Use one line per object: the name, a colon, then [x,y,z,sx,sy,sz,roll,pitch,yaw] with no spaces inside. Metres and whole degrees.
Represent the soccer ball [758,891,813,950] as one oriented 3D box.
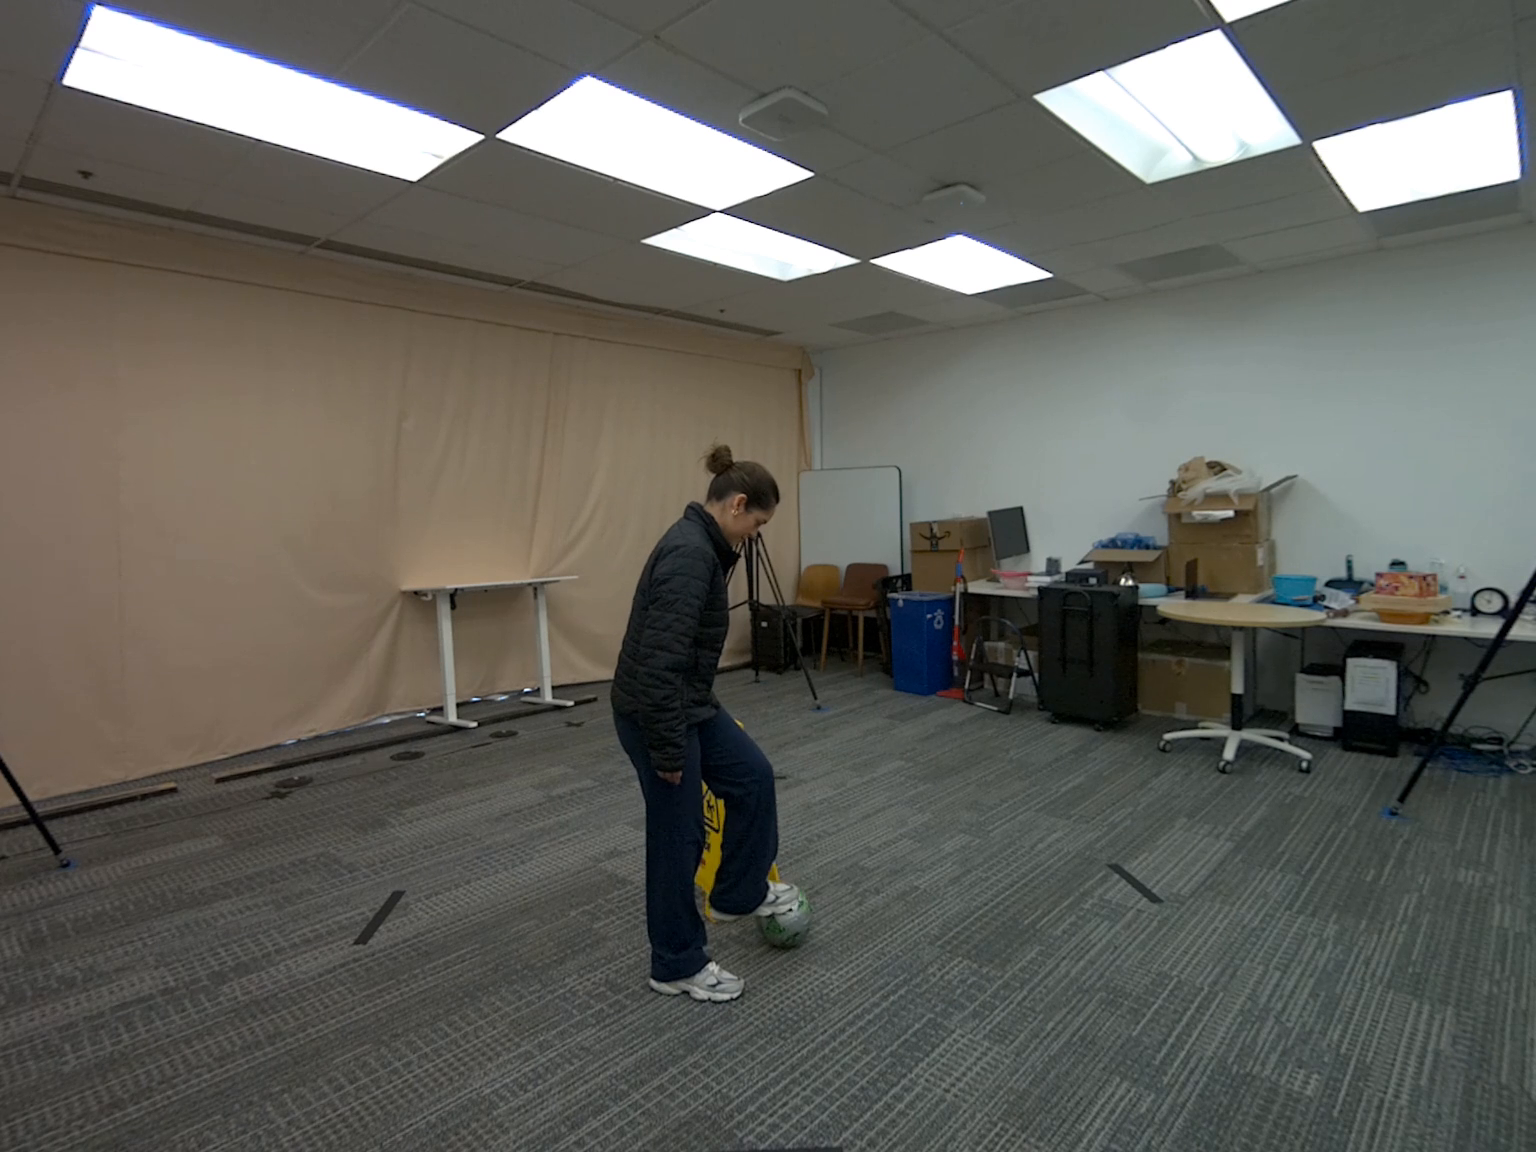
soccer ball: [0.056,1.068,2.674,0.187,0.187,0.188,-1,4,-2]
